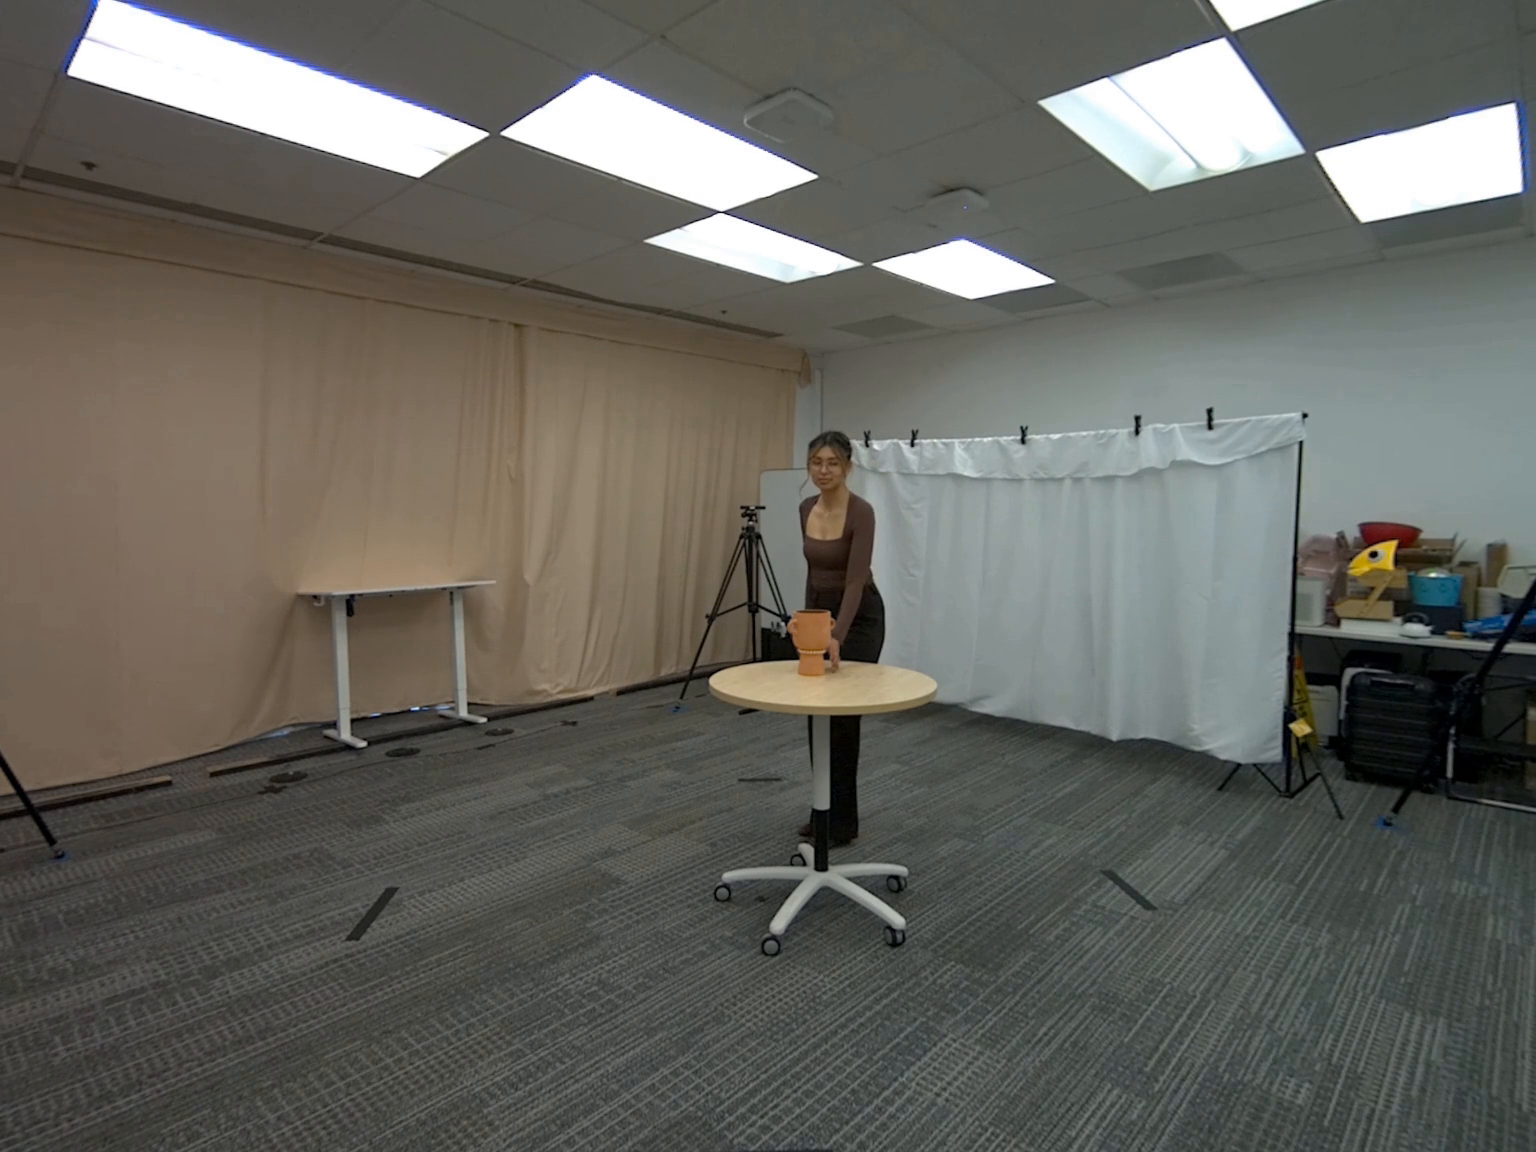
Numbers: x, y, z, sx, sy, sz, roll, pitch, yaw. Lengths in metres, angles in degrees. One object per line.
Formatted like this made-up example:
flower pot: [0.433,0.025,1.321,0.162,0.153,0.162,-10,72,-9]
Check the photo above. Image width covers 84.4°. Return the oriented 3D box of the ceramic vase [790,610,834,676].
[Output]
ceramic vase: [0.161,0.238,2.984,0.161,0.219,0.133,1,2,12]
